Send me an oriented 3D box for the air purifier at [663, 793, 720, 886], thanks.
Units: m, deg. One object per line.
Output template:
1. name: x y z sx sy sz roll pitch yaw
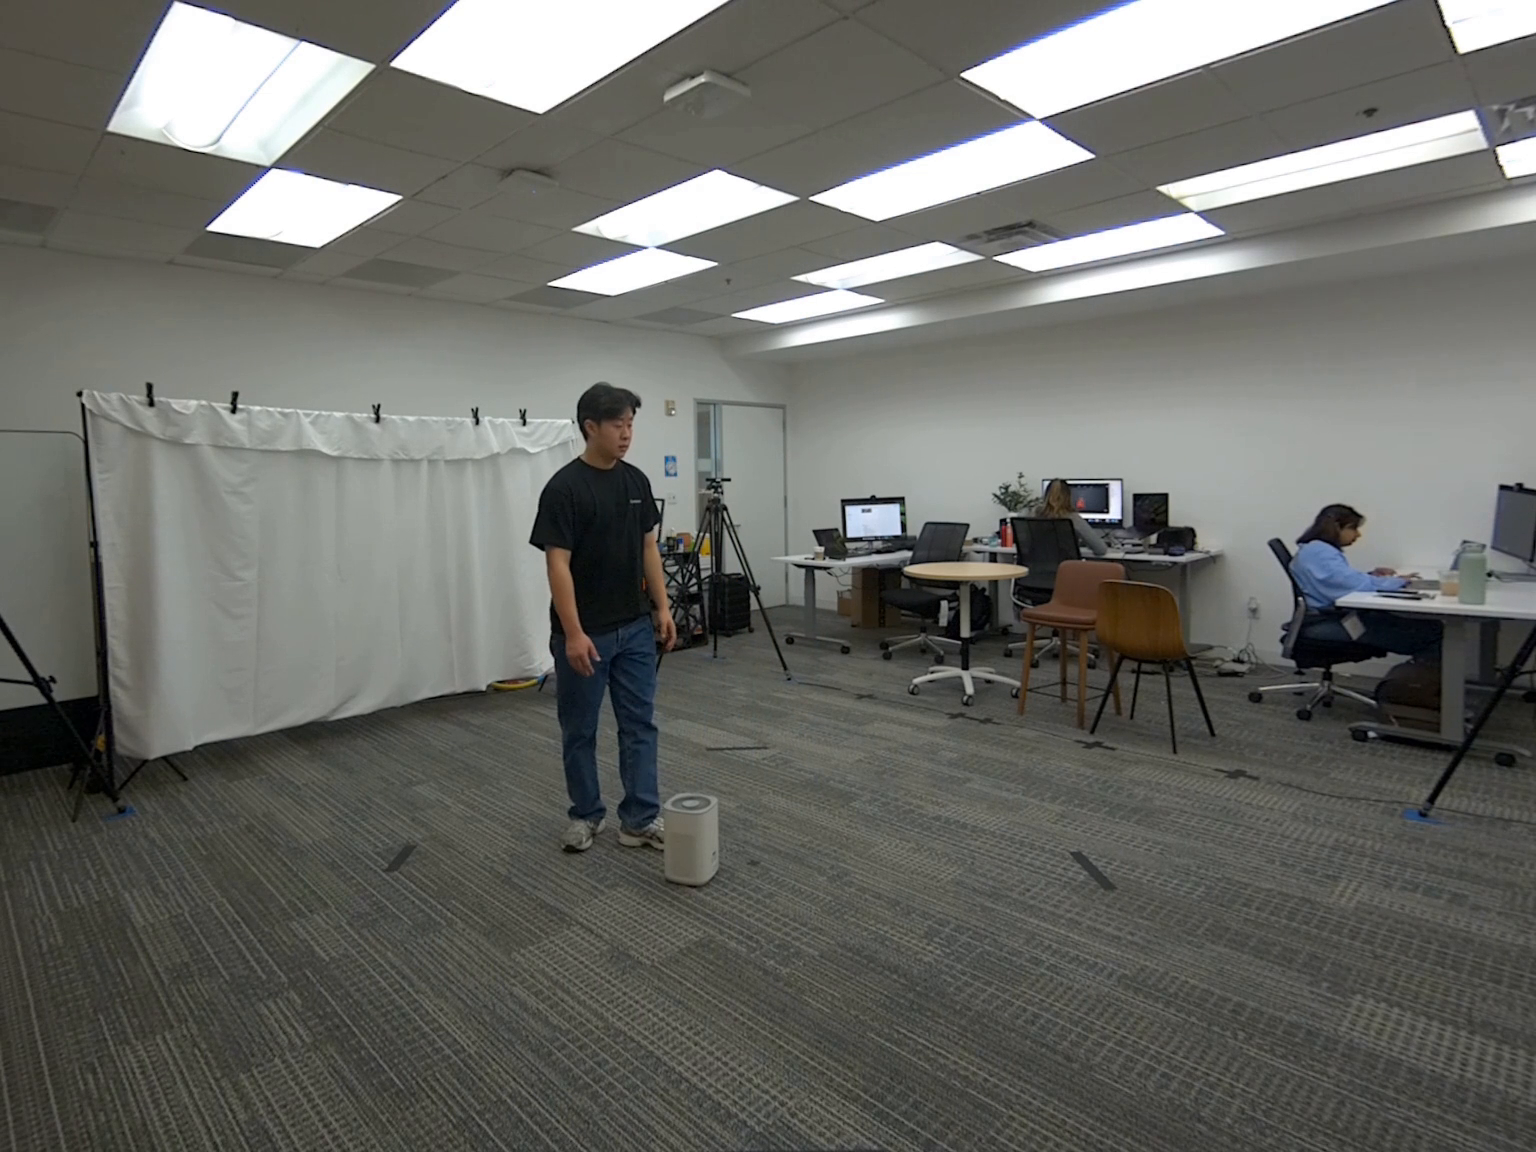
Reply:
1. air purifier: -0.265 0.921 2.999 0.175 0.264 0.168 0 4 20
